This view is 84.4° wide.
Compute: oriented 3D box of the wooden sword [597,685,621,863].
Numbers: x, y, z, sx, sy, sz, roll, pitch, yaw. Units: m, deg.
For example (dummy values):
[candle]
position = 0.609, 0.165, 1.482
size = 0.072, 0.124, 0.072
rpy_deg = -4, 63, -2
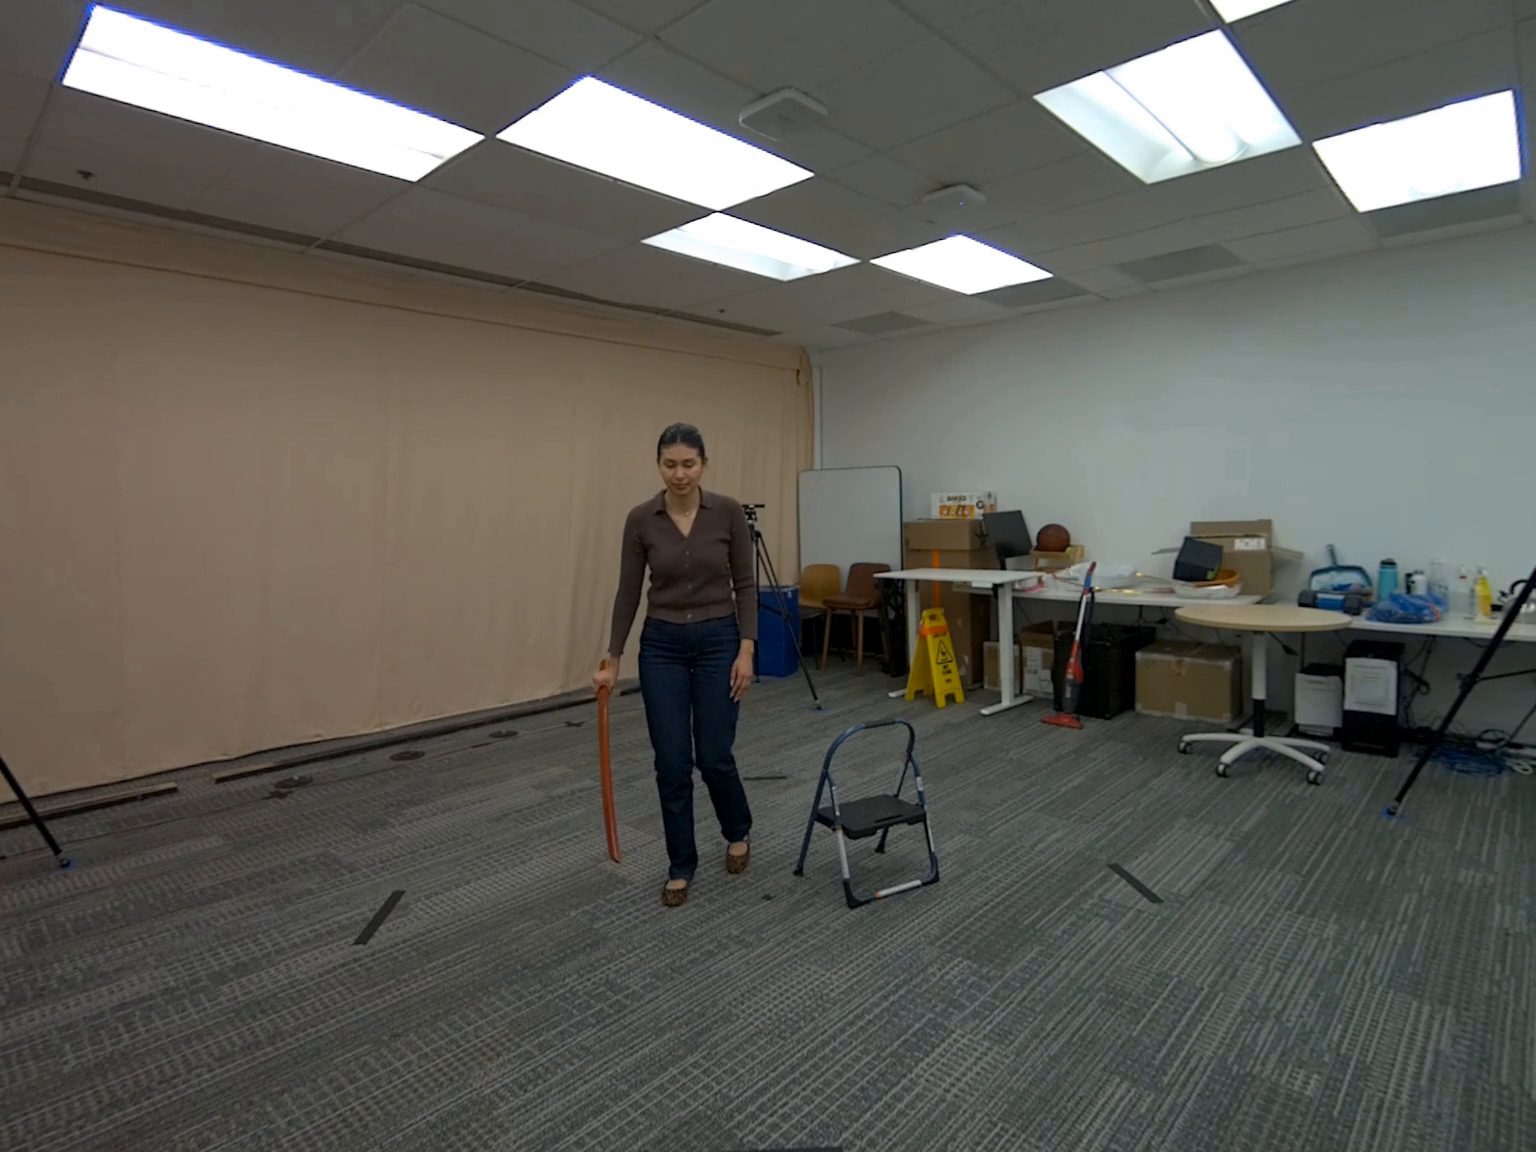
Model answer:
[wooden sword]
position = -0.488, 0.568, 2.720
size = 0.051, 0.023, 1.050
rpy_deg = -35, 28, 4
